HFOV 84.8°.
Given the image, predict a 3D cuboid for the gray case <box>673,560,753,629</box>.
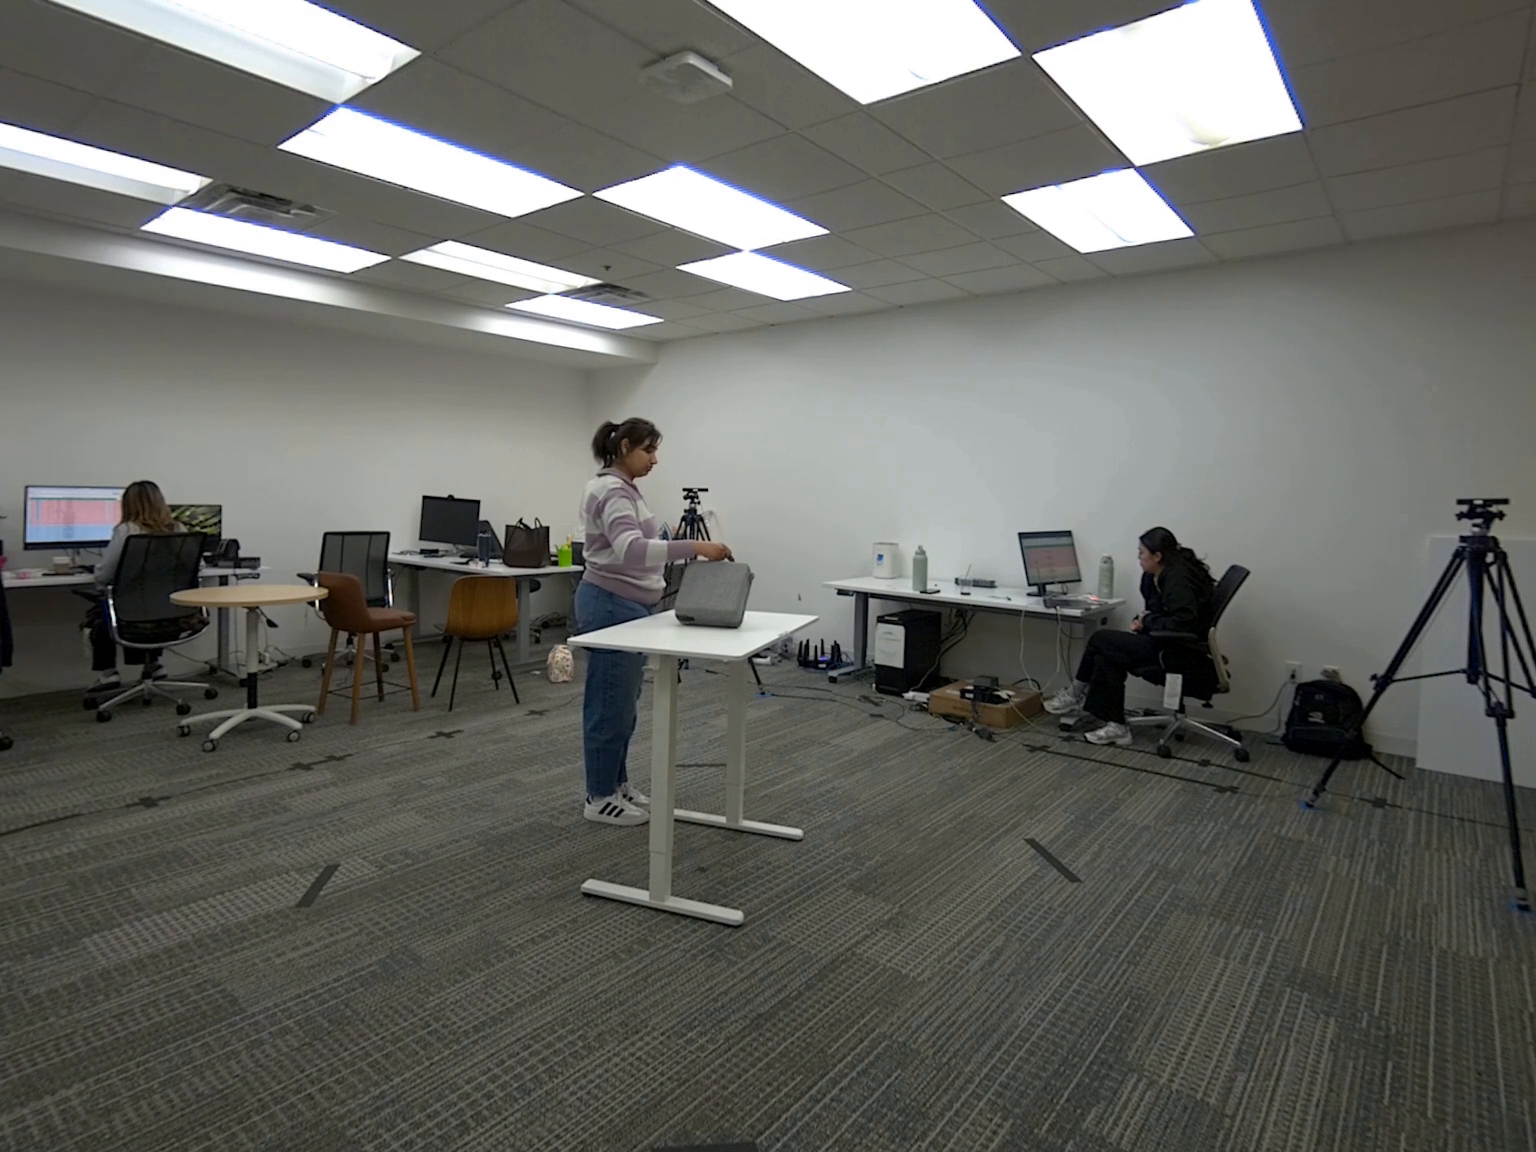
[{"bbox_3d":[-0.207,0.061,3.187,0.261,0.266,0.100,1,-38,16],"label":"gray case"}]
